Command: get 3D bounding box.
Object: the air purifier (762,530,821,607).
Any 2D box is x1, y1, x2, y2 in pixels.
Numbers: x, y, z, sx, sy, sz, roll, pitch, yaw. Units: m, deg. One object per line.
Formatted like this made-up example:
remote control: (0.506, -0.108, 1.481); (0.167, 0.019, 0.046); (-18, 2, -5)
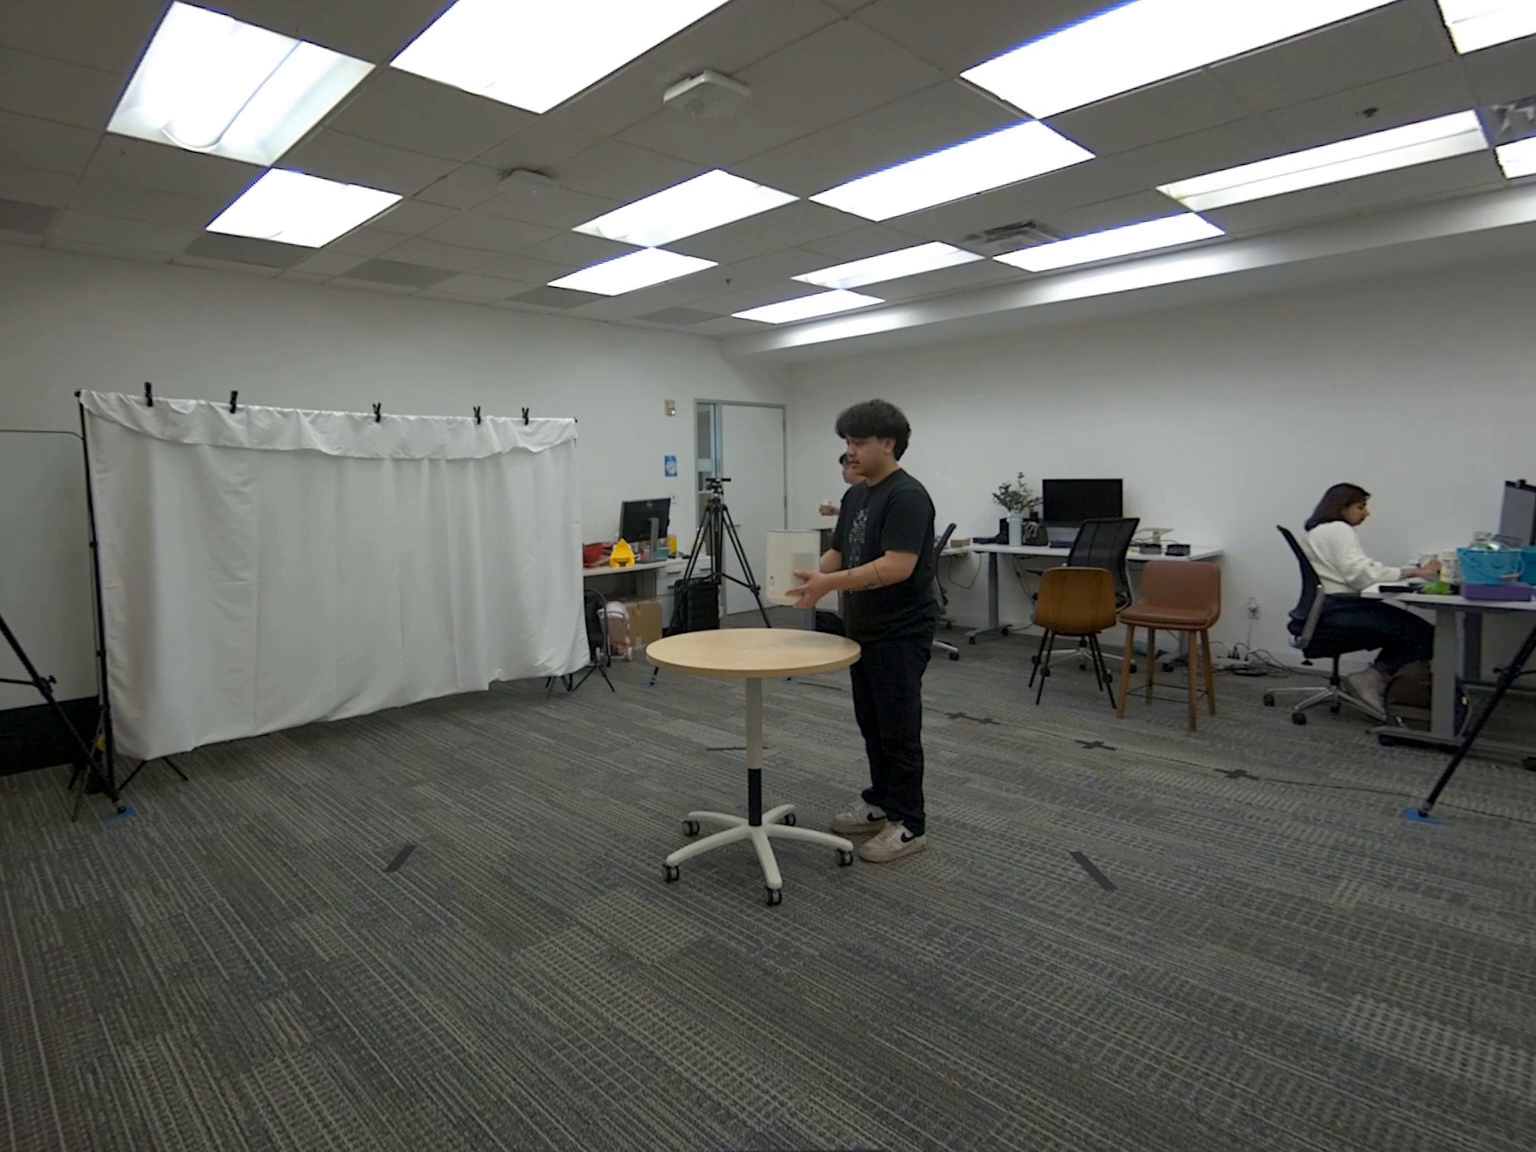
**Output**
air purifier: (0.101, -0.034, 3.094); (0.168, 0.265, 0.175); (0, 3, -24)
